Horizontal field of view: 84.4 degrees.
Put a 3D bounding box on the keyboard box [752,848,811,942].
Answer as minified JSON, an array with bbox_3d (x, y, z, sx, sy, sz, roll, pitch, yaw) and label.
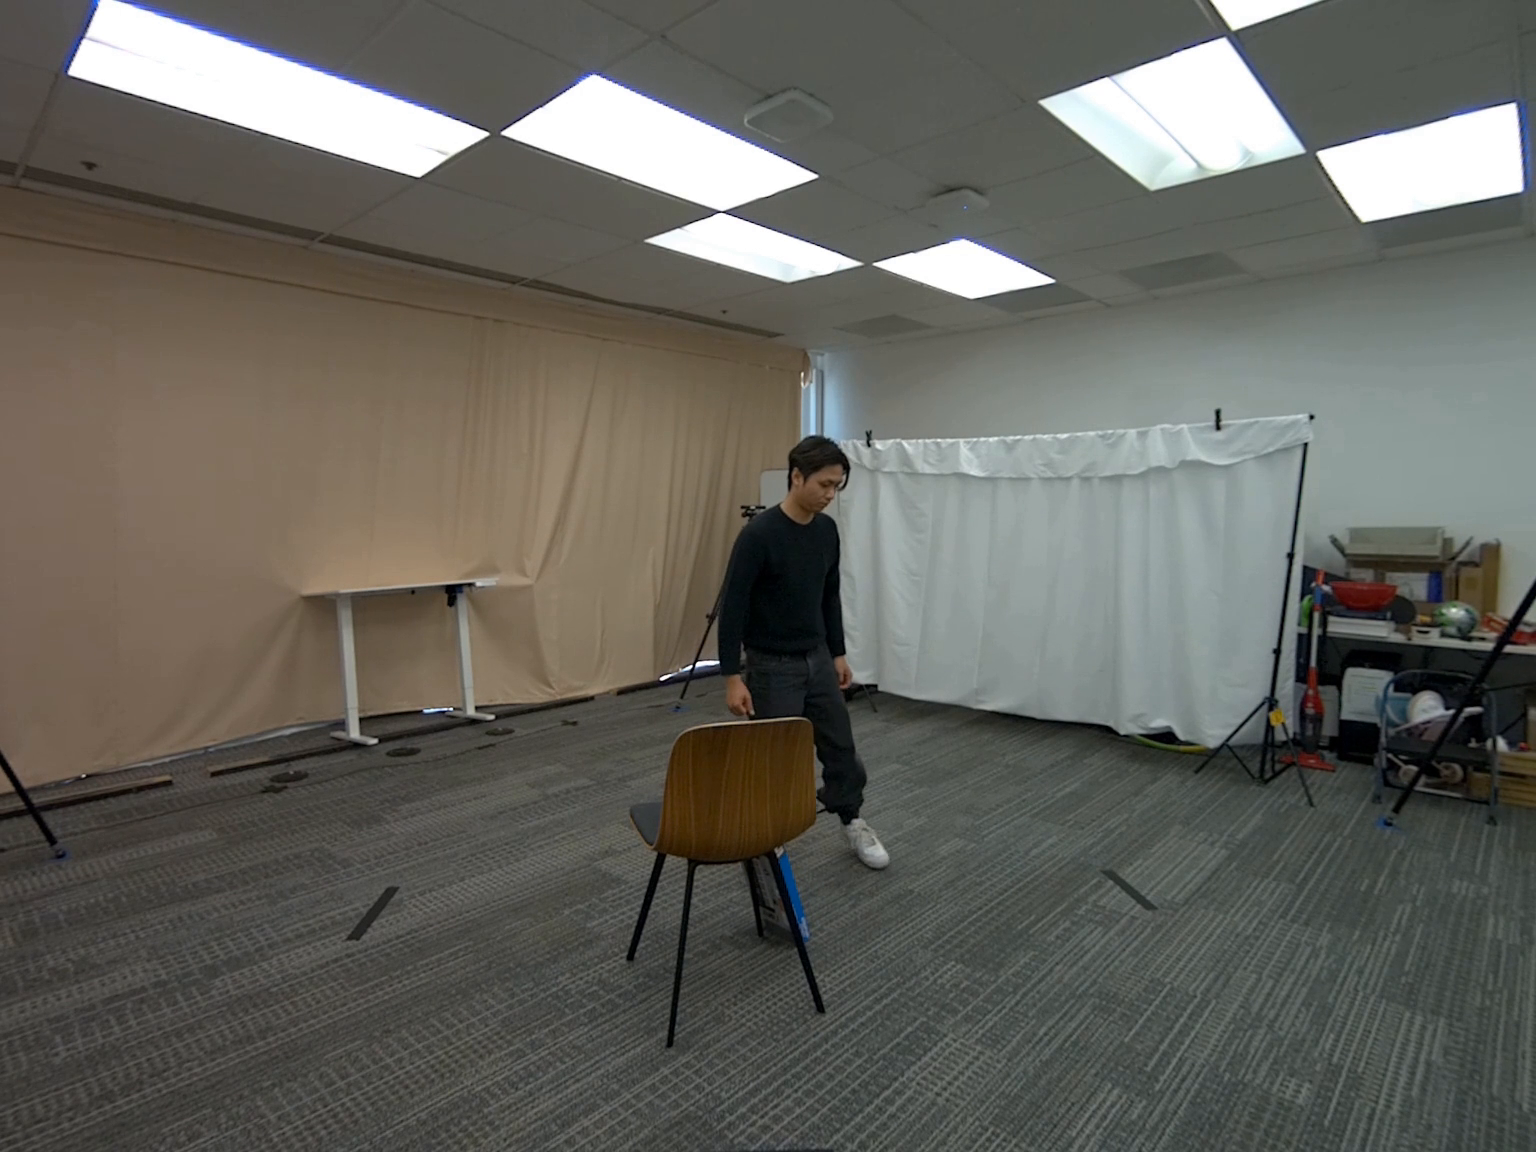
[{"bbox_3d":[0.002,0.953,2.671,0.058,0.430,0.182,-29,22,-38],"label":"keyboard box"}]
